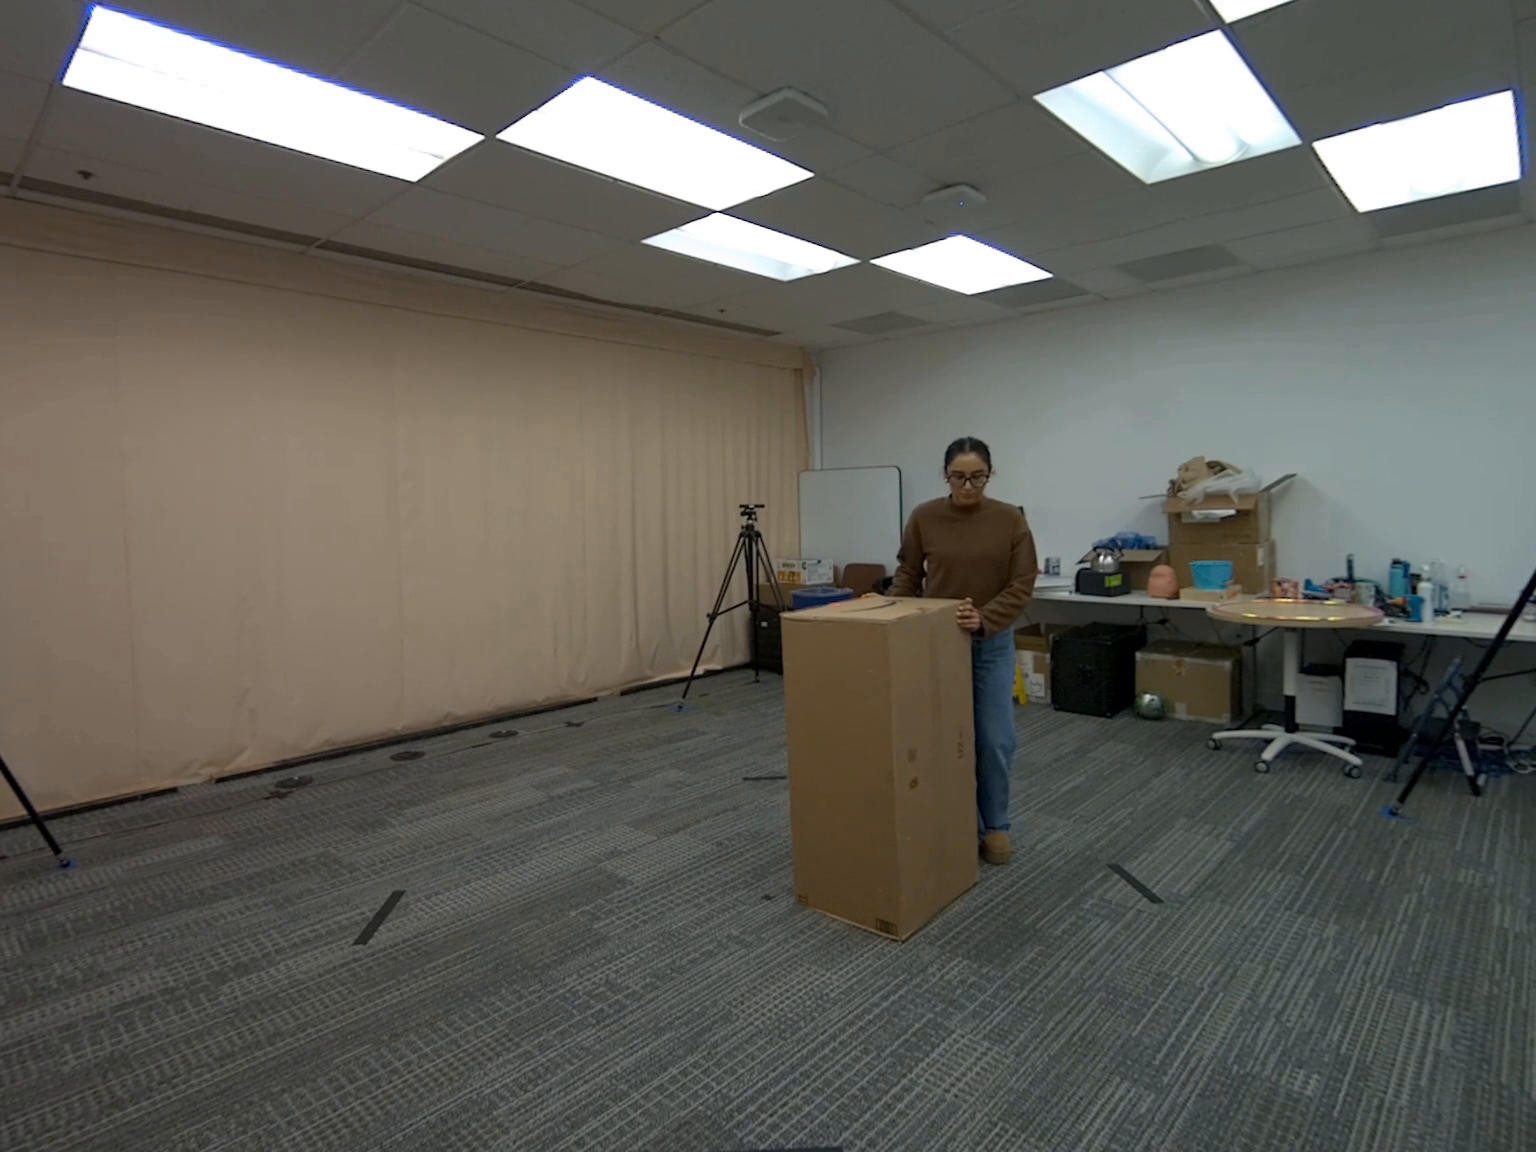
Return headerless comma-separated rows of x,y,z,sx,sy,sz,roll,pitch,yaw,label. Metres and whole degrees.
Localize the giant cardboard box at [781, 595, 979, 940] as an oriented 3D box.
0.406,0.620,2.977,0.440,1.024,0.560,0,3,41,giant cardboard box
